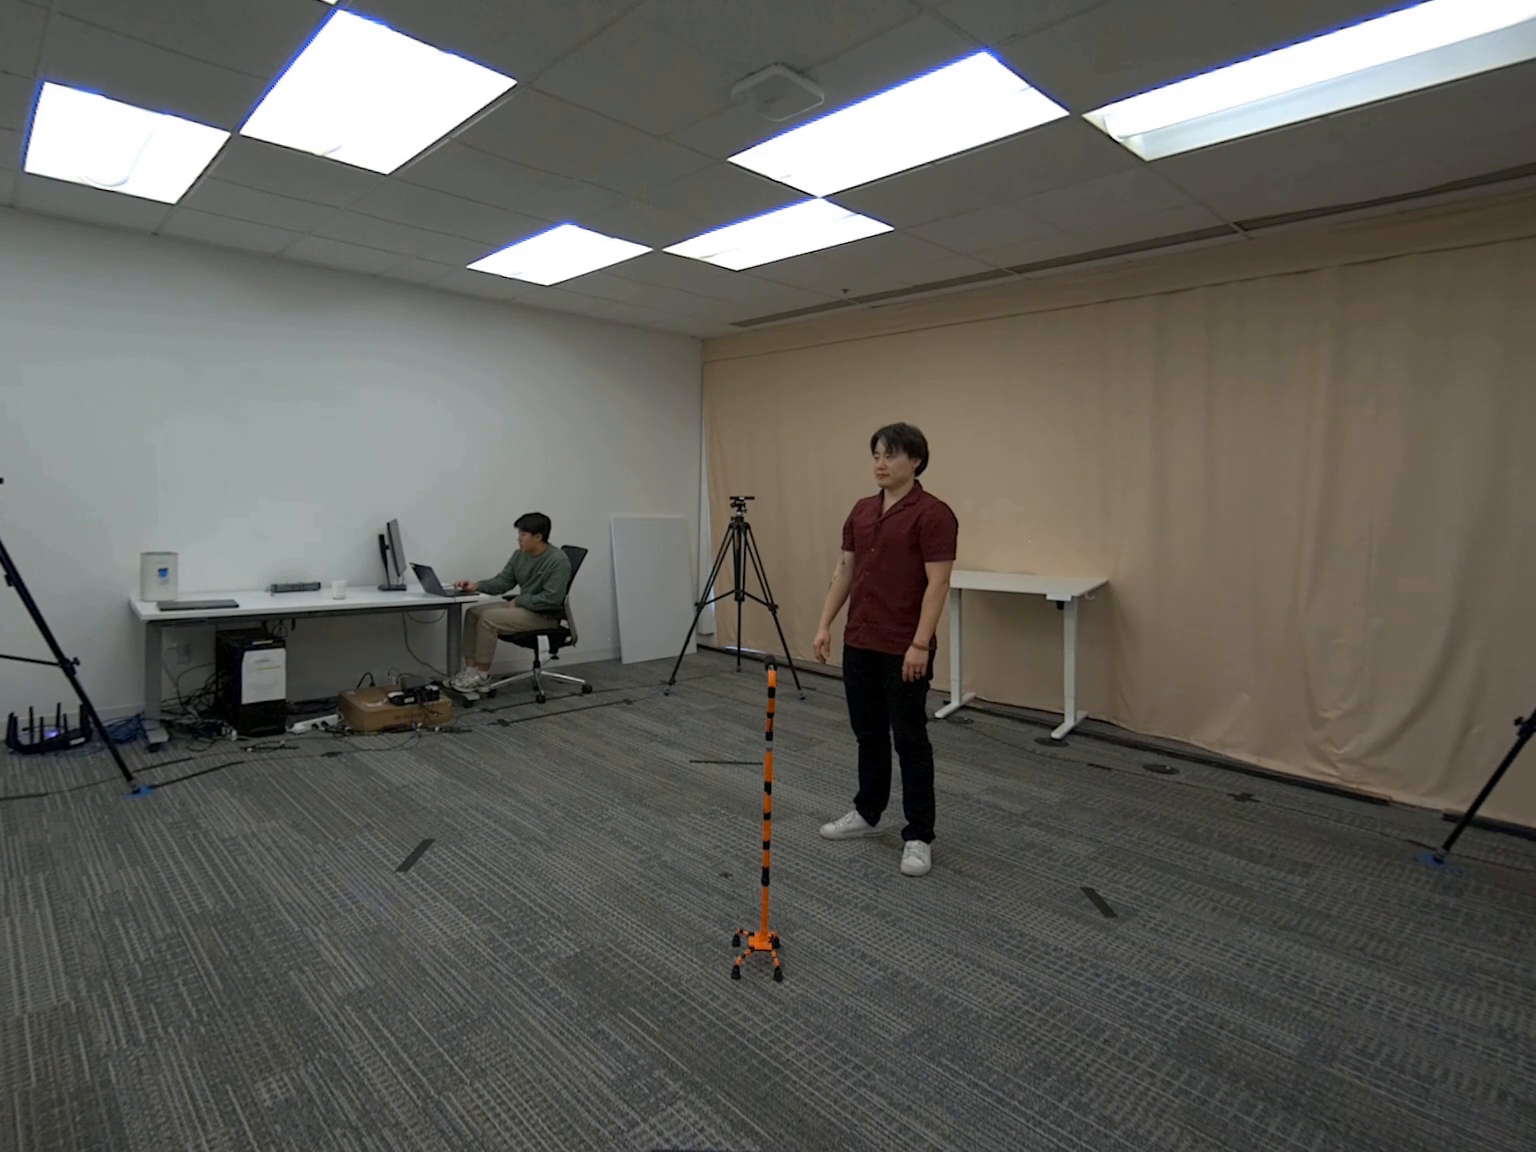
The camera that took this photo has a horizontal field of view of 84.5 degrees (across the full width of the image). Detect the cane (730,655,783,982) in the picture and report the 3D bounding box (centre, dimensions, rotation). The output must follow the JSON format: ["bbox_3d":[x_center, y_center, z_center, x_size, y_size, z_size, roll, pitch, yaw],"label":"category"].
[{"bbox_3d":[-0.024,0.714,2.498,0.151,0.906,0.207,2,3,-2],"label":"cane"}]
